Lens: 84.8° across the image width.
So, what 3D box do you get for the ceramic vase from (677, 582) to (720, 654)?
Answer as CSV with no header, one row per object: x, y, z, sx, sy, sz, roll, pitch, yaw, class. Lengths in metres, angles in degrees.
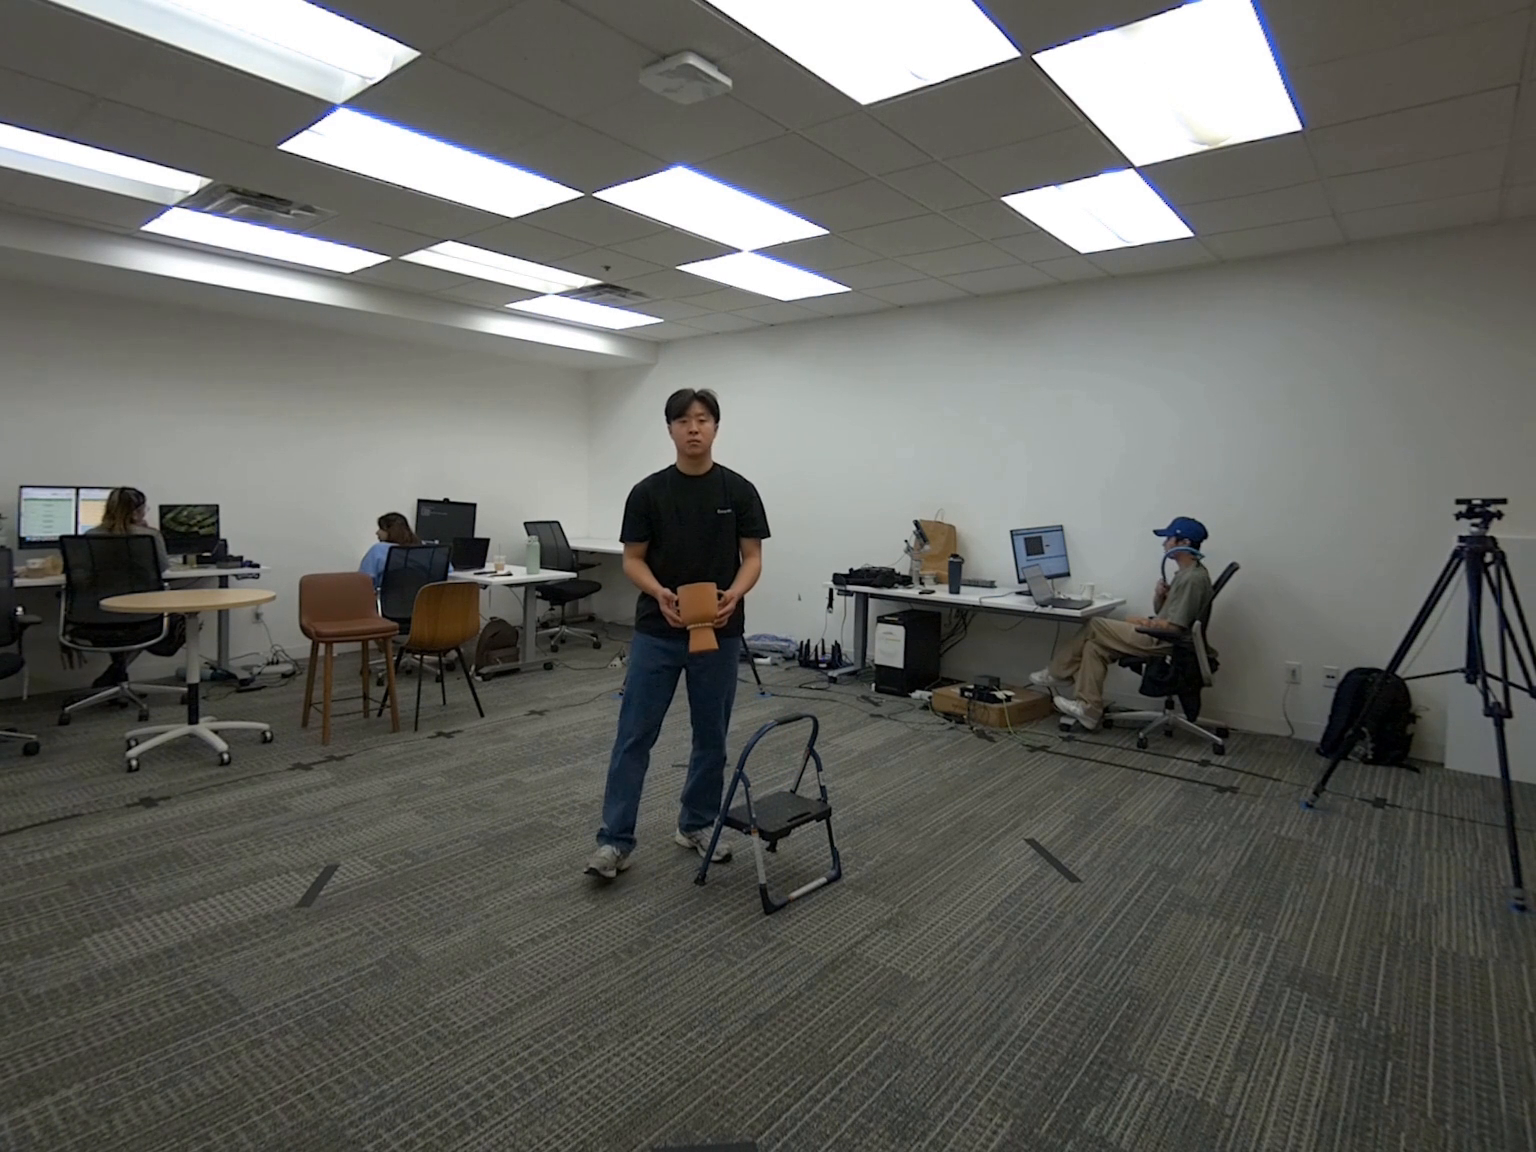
-0.239,0.141,2.859,0.130,0.222,0.162,1,-13,-40,ceramic vase
